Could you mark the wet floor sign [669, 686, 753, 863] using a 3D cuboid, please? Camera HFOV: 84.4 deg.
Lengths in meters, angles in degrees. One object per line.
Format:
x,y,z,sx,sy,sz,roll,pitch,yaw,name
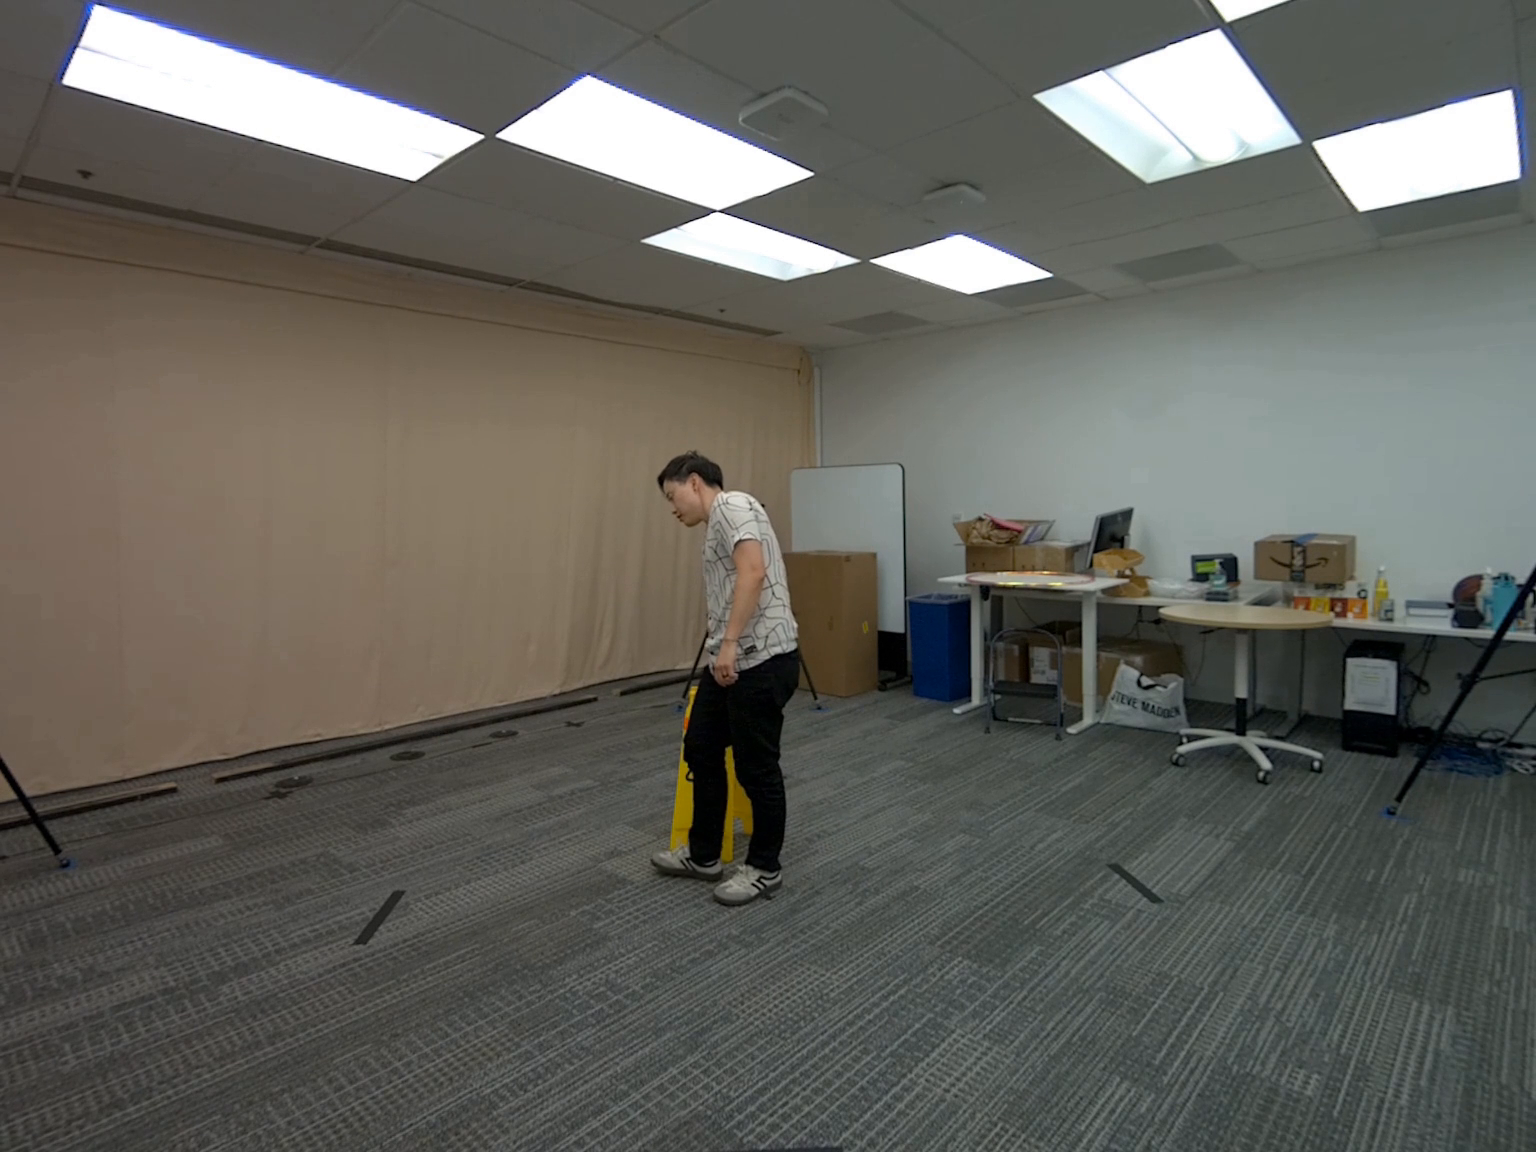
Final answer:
-0.221,0.780,3.456,0.289,0.645,0.283,-1,3,25,wet floor sign
